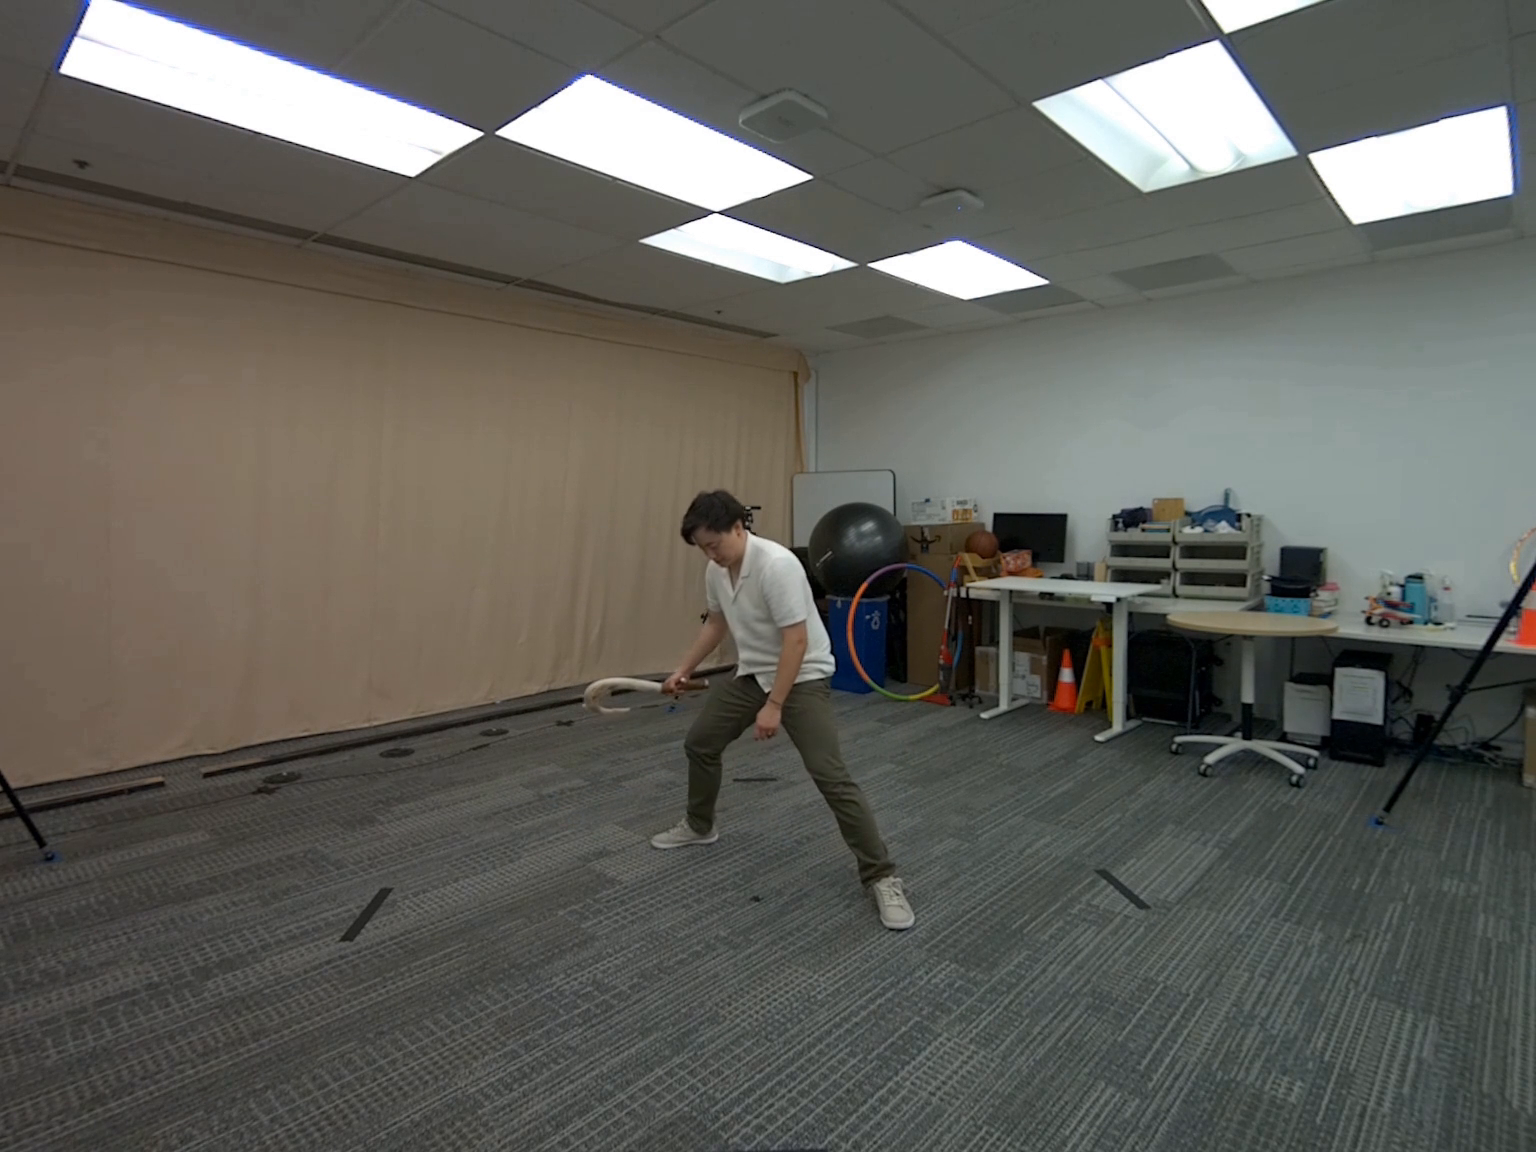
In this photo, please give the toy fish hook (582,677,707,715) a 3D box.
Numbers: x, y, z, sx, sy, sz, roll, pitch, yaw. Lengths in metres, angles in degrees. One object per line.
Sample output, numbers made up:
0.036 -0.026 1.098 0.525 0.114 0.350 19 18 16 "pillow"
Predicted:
-0.491 0.493 3.410 0.498 0.222 0.049 2 45 -15 "toy fish hook"
